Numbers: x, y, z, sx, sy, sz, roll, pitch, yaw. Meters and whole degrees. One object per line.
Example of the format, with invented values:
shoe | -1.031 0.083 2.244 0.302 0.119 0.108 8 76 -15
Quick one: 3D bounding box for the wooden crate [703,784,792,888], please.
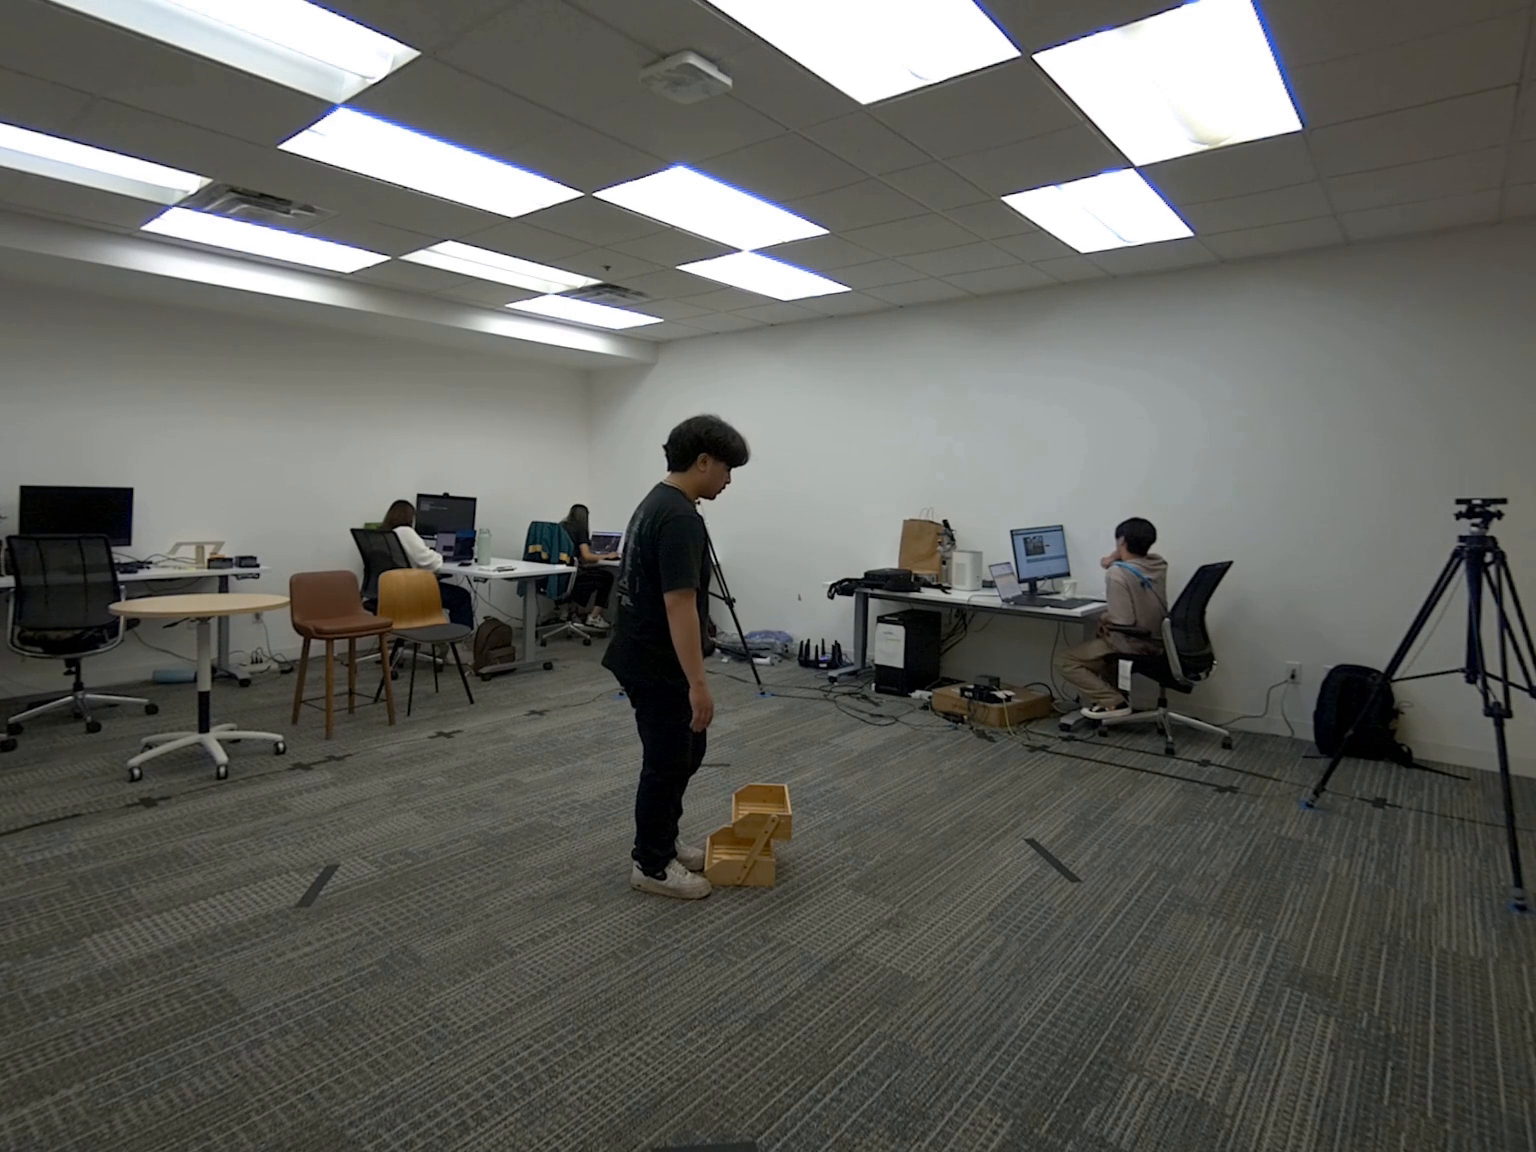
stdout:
wooden crate | -0.085 0.937 3.128 0.302 0.272 0.326 1 4 -1
